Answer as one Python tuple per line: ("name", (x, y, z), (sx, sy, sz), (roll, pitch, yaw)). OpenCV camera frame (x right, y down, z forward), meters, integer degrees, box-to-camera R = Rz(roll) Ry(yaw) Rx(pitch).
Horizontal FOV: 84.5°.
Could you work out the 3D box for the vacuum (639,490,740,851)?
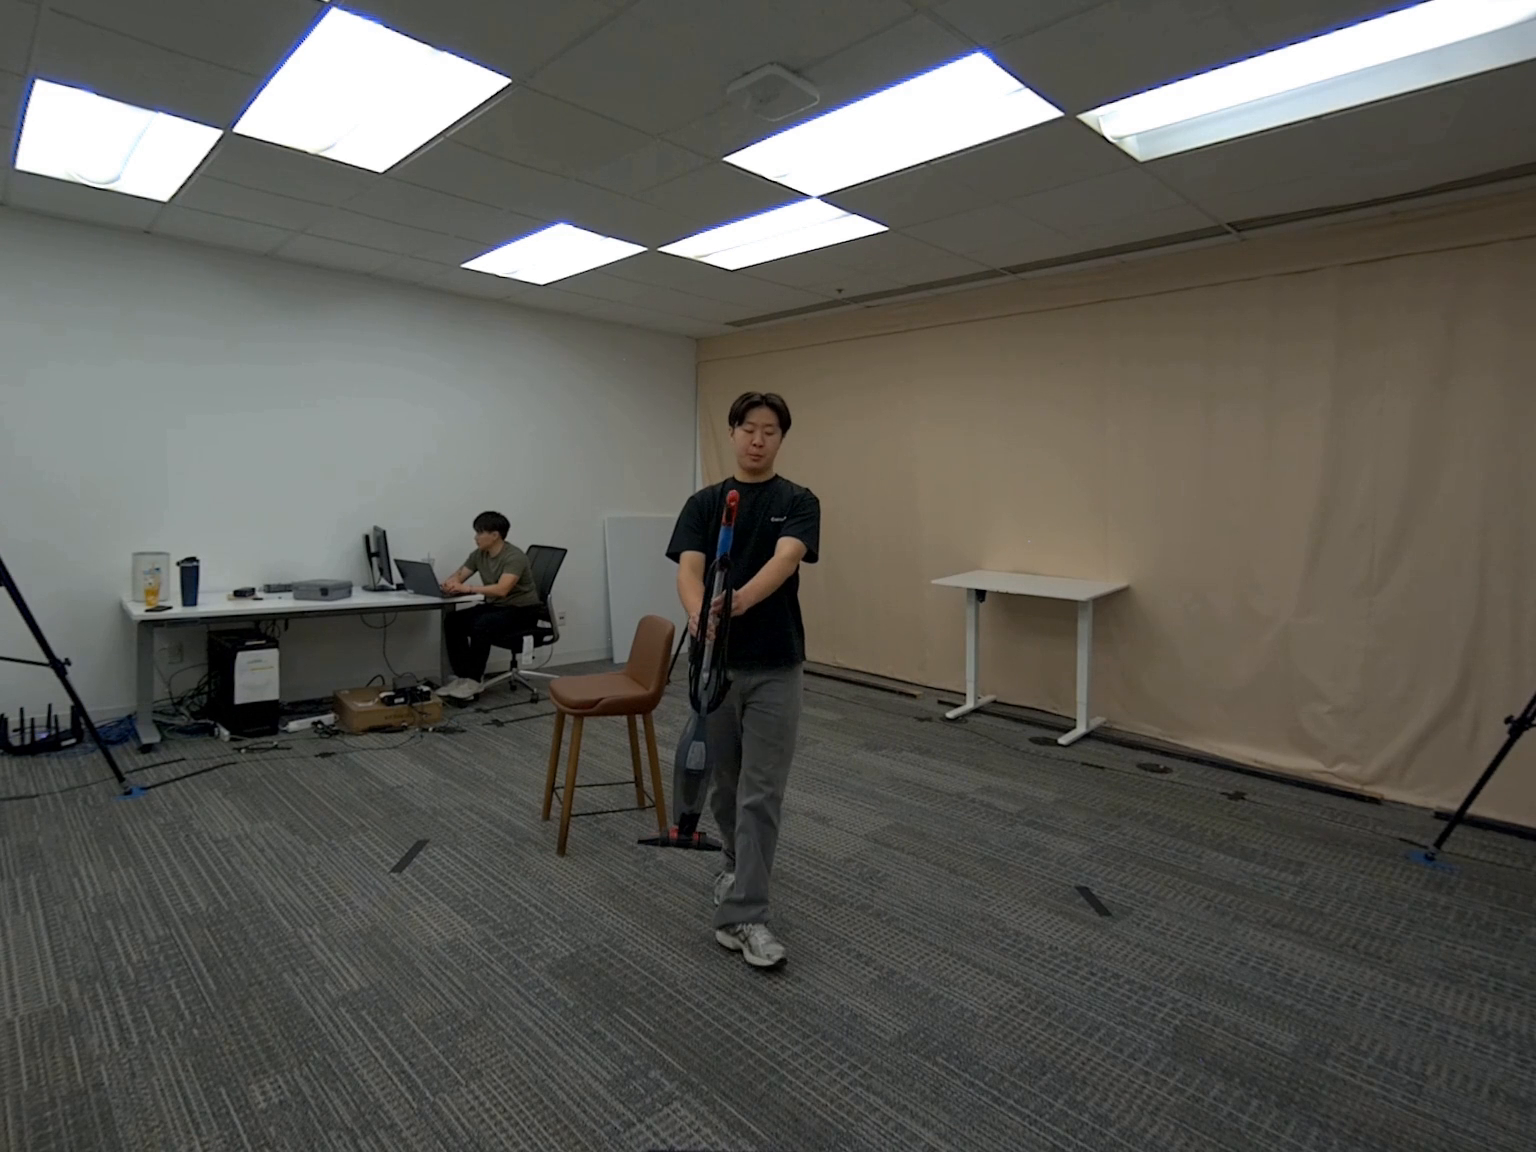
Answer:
("vacuum", (-0.171, 0.289, 2.325), (0.250, 1.040, 0.146), (8, 15, -9))
